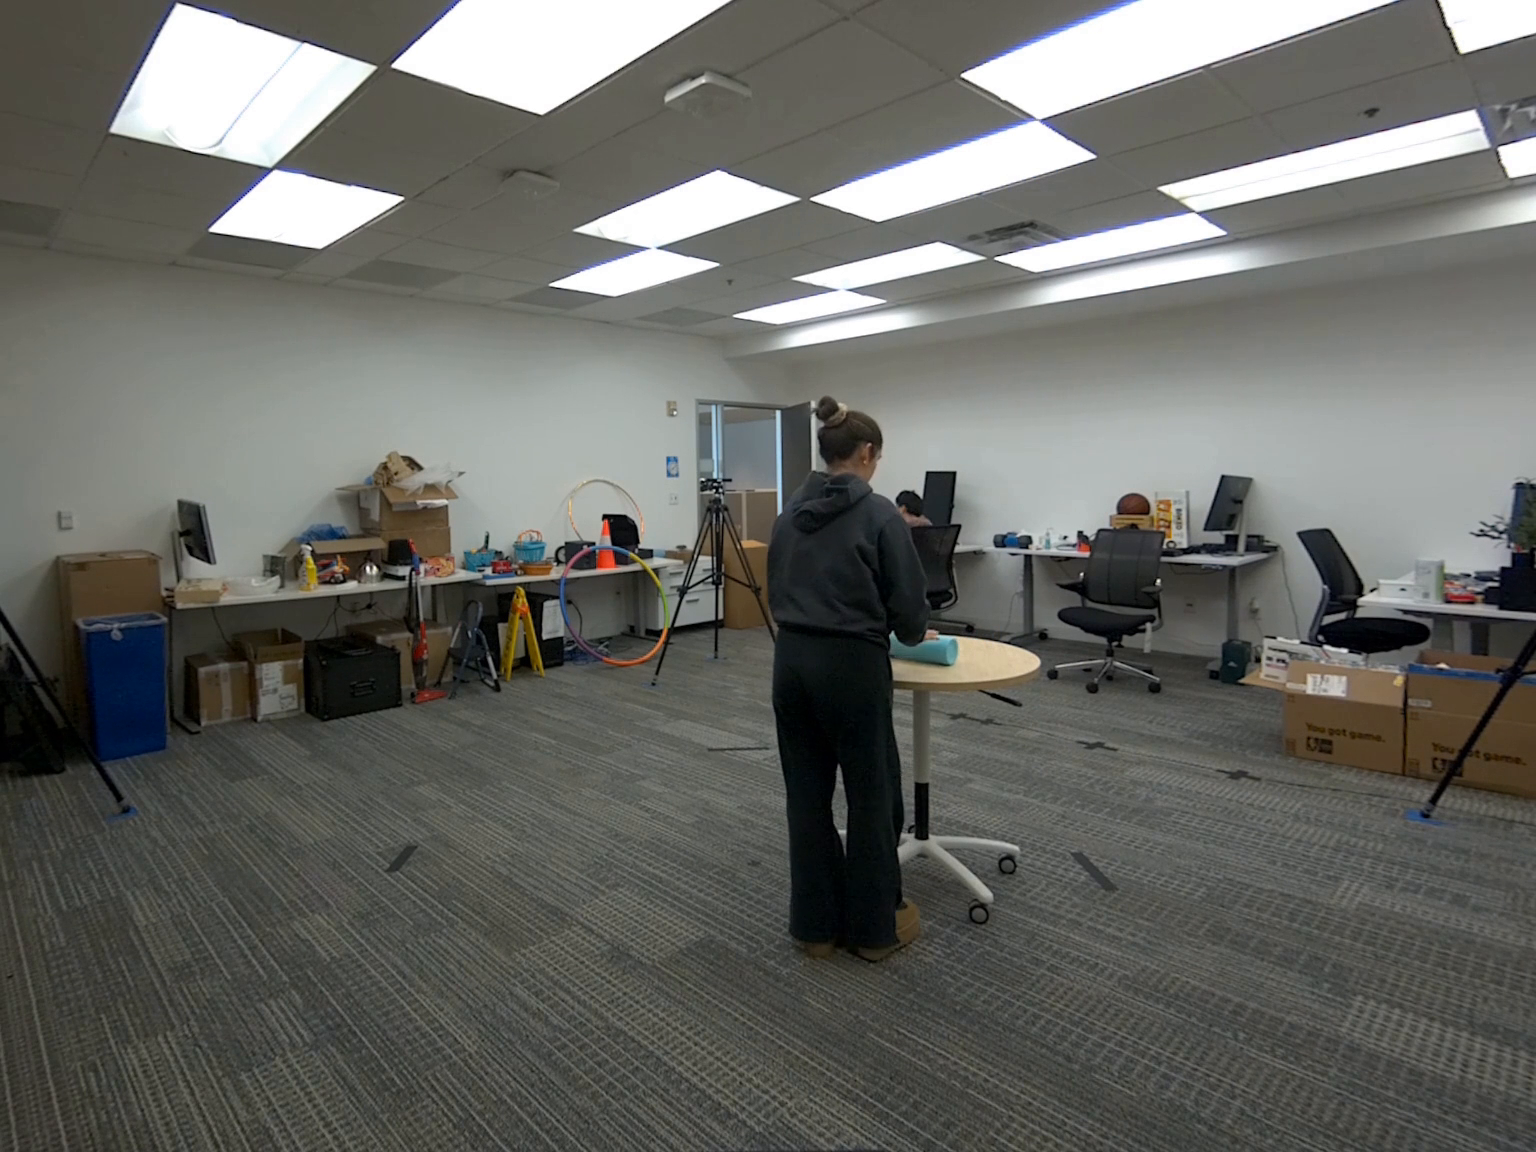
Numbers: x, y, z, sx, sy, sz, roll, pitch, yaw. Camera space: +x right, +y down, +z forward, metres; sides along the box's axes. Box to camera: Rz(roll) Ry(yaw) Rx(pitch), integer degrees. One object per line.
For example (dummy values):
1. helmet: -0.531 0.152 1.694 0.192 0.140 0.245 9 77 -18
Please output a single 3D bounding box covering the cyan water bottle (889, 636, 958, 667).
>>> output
1. cyan water bottle: 0.487 0.235 2.847 0.292 0.092 0.090 4 6 38
